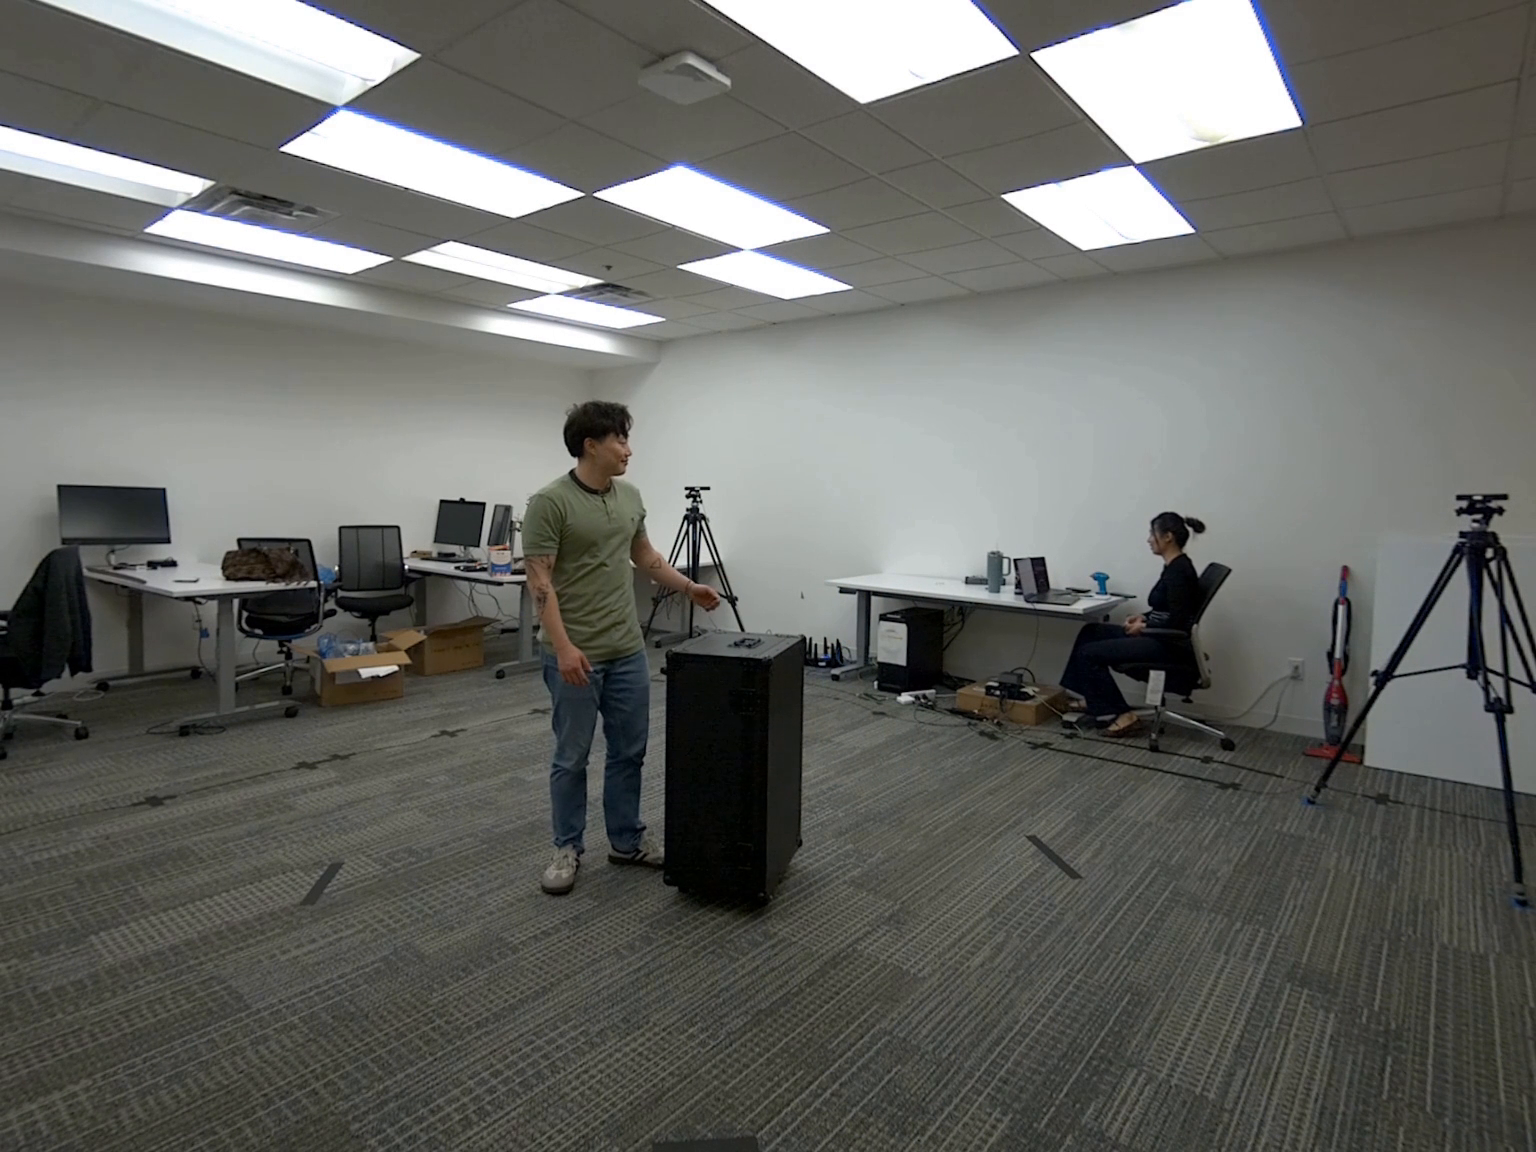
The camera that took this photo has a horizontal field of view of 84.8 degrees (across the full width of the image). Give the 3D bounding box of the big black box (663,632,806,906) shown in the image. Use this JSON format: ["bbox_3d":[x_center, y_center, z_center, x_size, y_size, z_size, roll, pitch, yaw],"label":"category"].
[{"bbox_3d":[-0.121,0.656,2.966,0.404,0.859,0.513,1,4,18],"label":"big black box"}]
